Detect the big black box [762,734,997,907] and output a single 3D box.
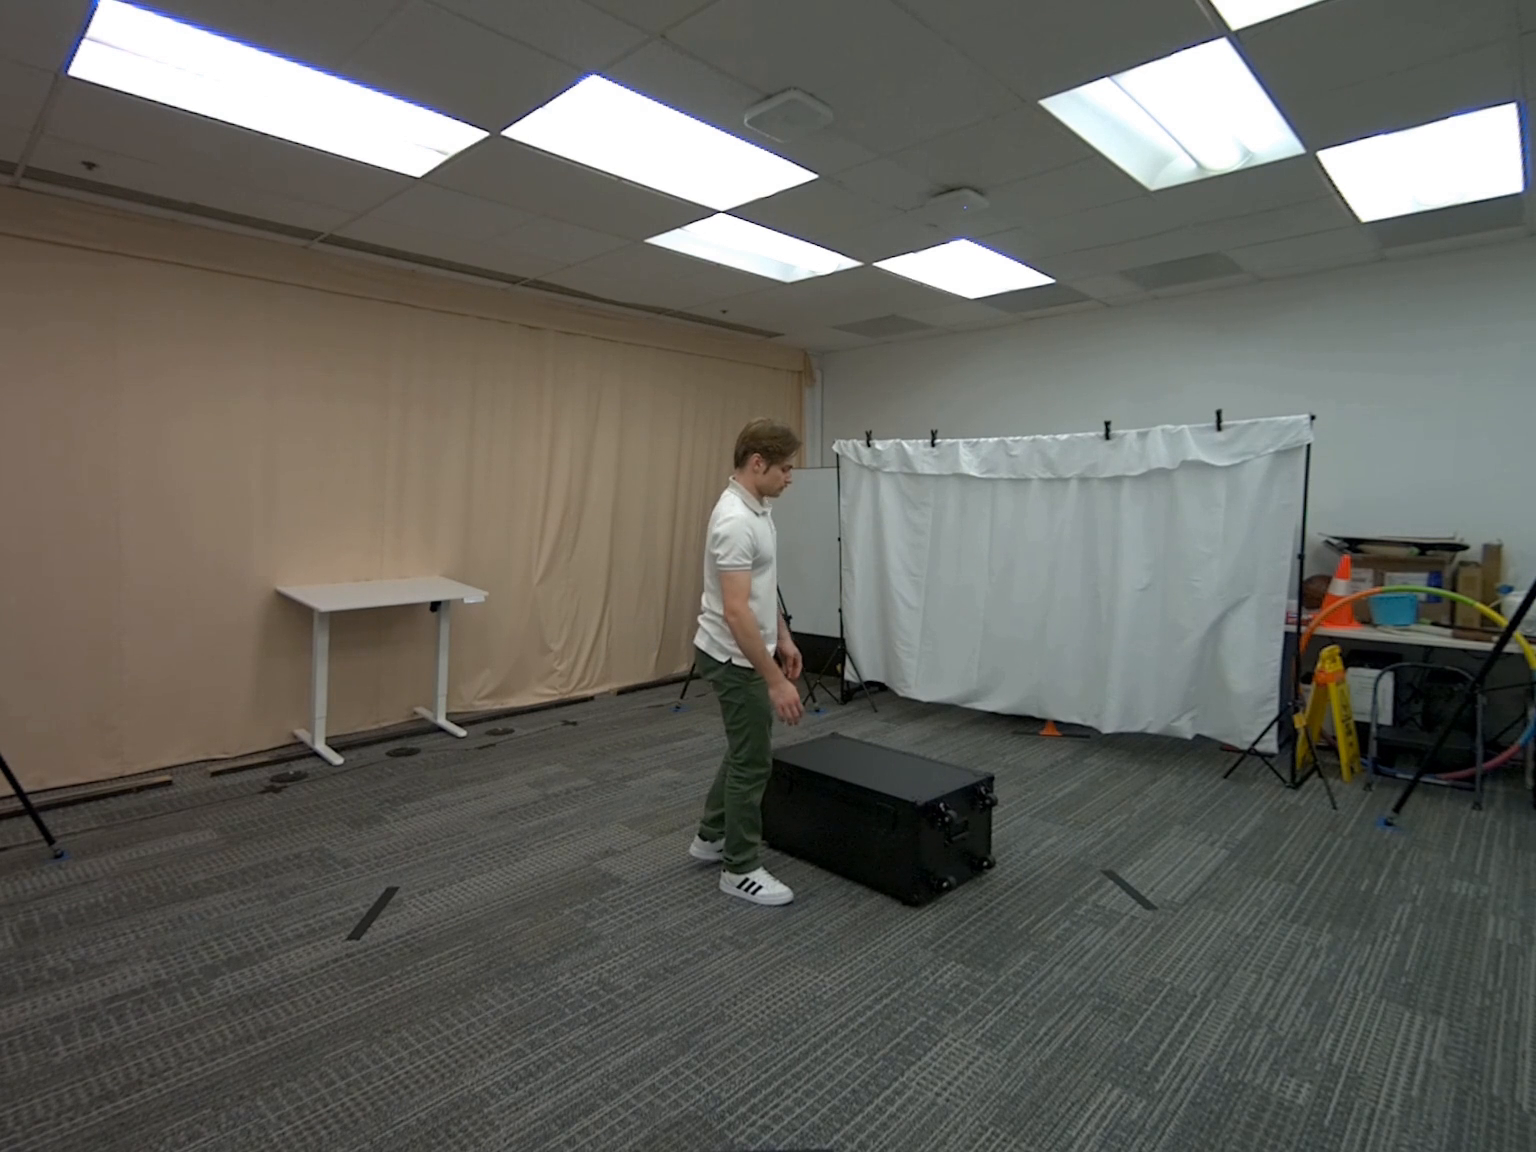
[{"bbox_3d":[0.430,0.918,3.289,0.507,0.384,0.898,-2,4,-44],"label":"big black box"}]
